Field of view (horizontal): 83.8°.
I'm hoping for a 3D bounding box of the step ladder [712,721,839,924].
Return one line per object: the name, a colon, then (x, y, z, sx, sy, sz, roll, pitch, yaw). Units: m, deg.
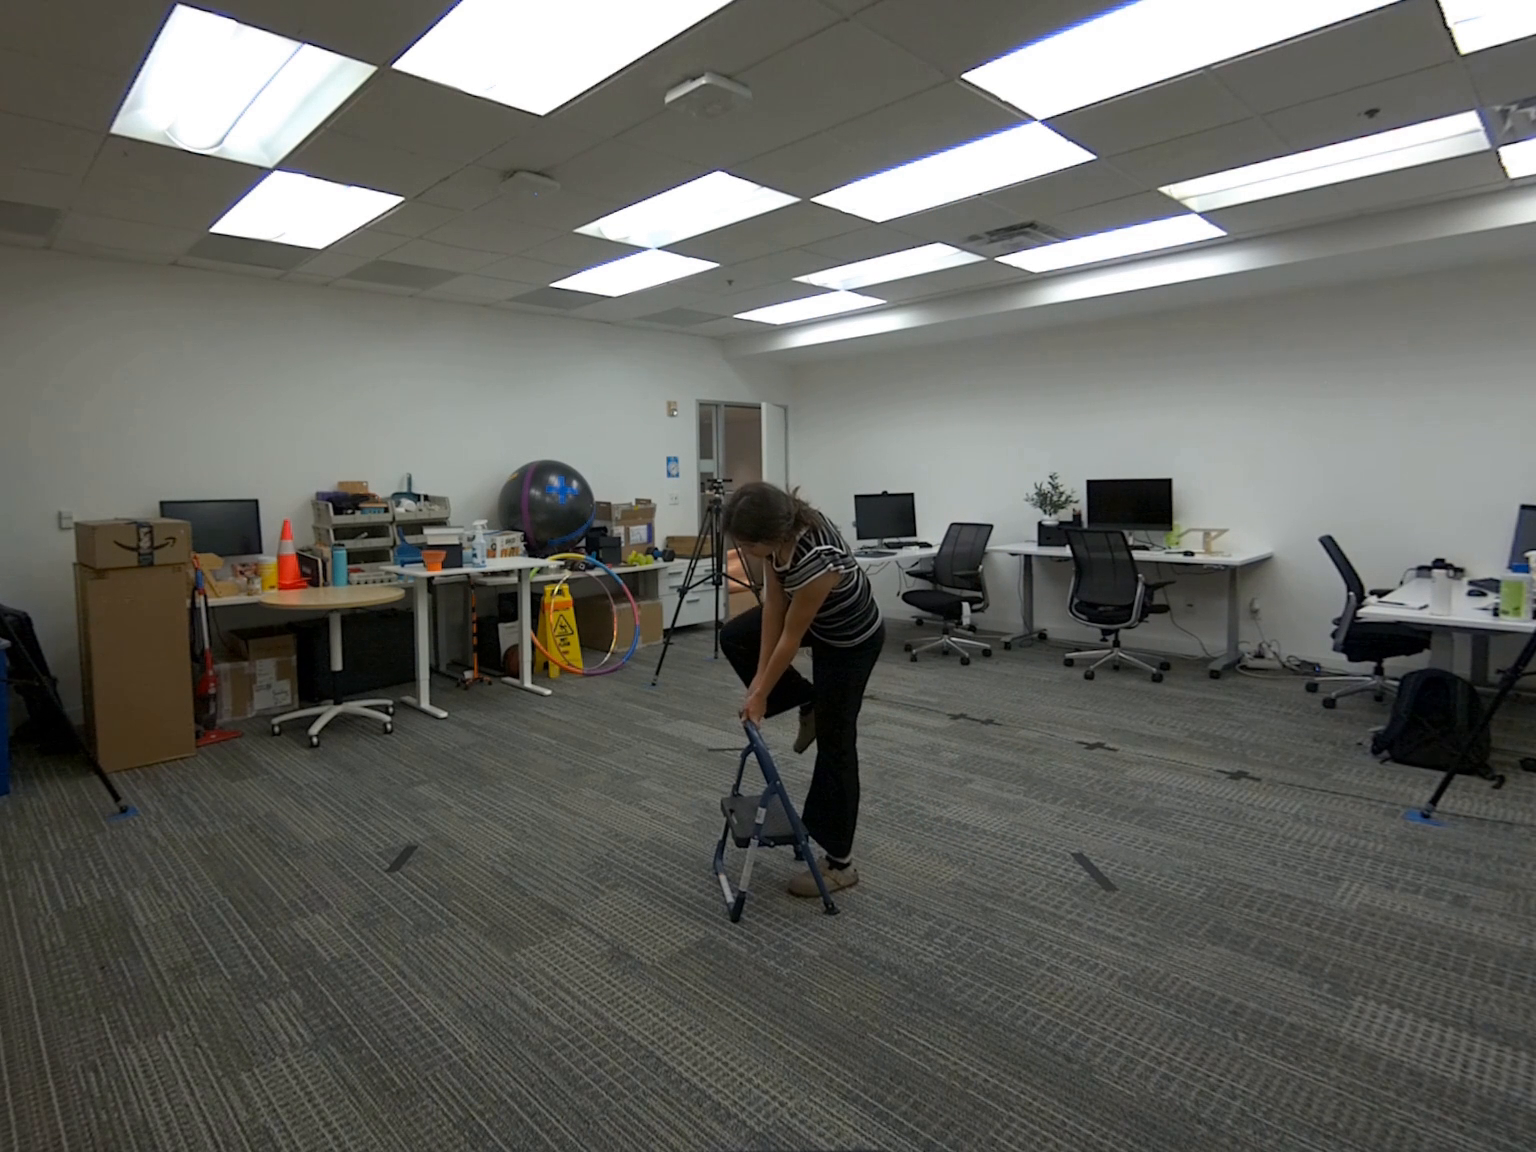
step ladder: (0.008, 0.767, 2.896, 0.346, 0.604, 0.437, -2, 4, -11)
